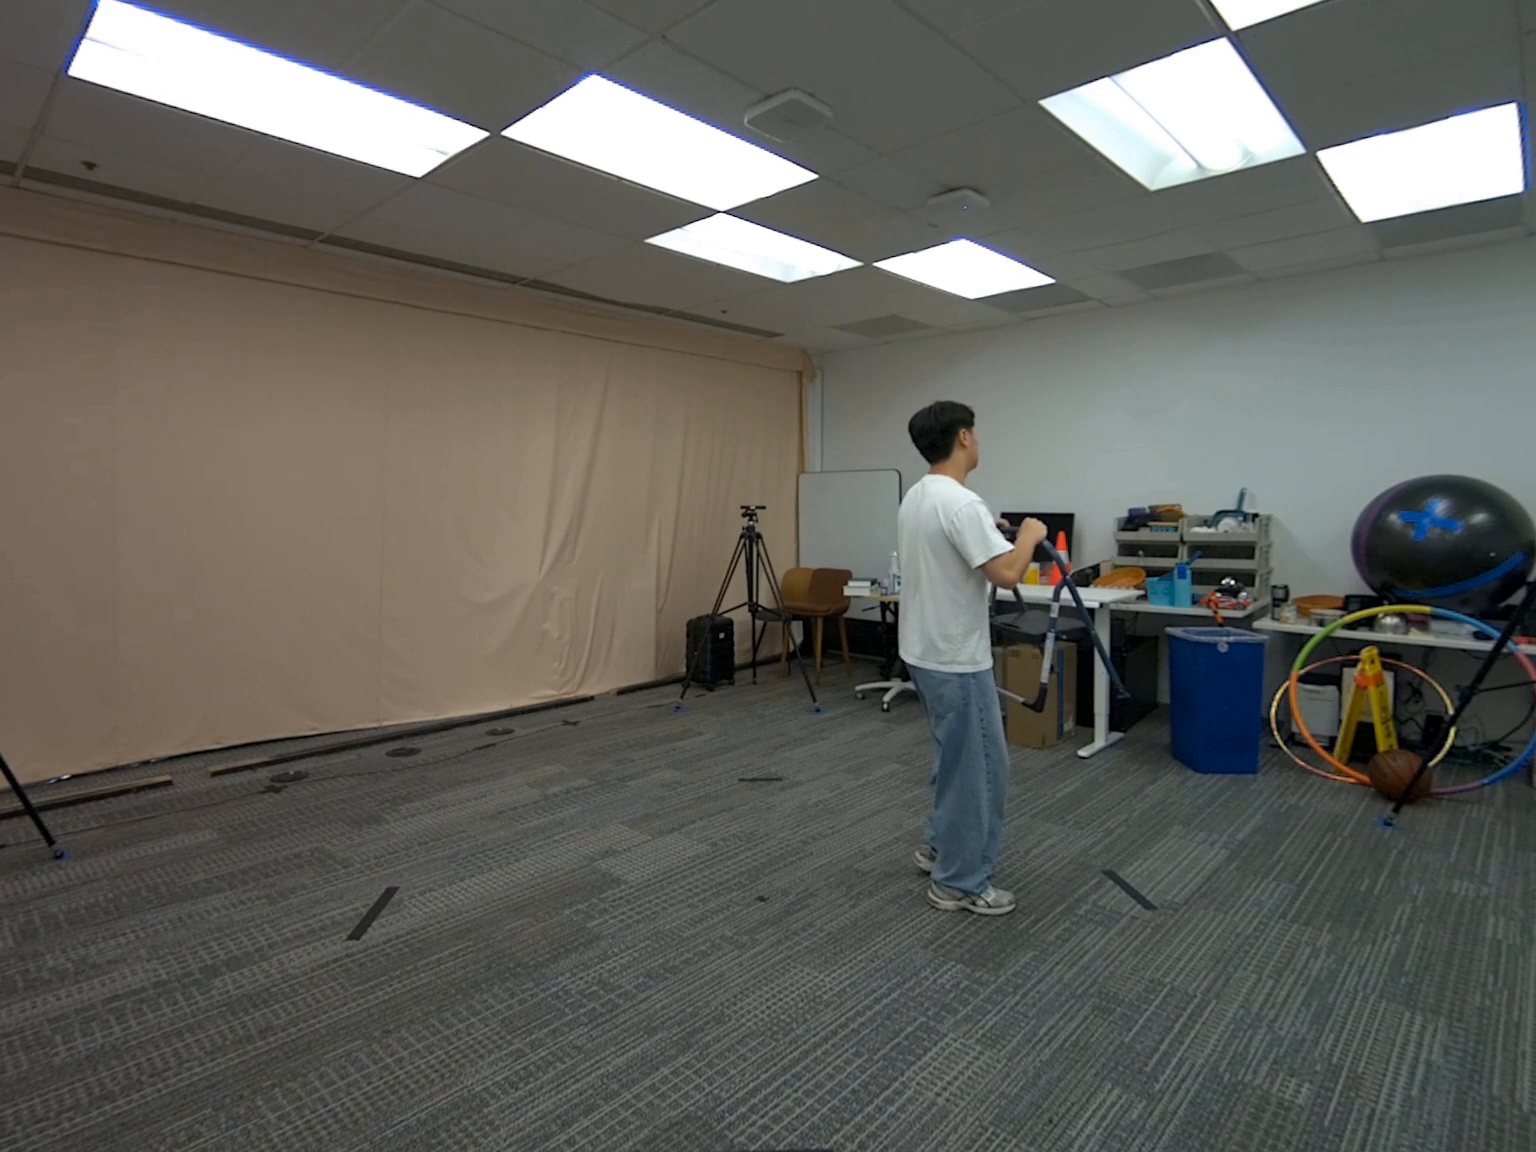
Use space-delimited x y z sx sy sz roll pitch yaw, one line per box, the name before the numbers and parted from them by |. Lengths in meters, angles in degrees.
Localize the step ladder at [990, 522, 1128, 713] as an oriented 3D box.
step ladder | 0.968 0.116 3.001 0.345 0.602 0.439 -9 8 -14
